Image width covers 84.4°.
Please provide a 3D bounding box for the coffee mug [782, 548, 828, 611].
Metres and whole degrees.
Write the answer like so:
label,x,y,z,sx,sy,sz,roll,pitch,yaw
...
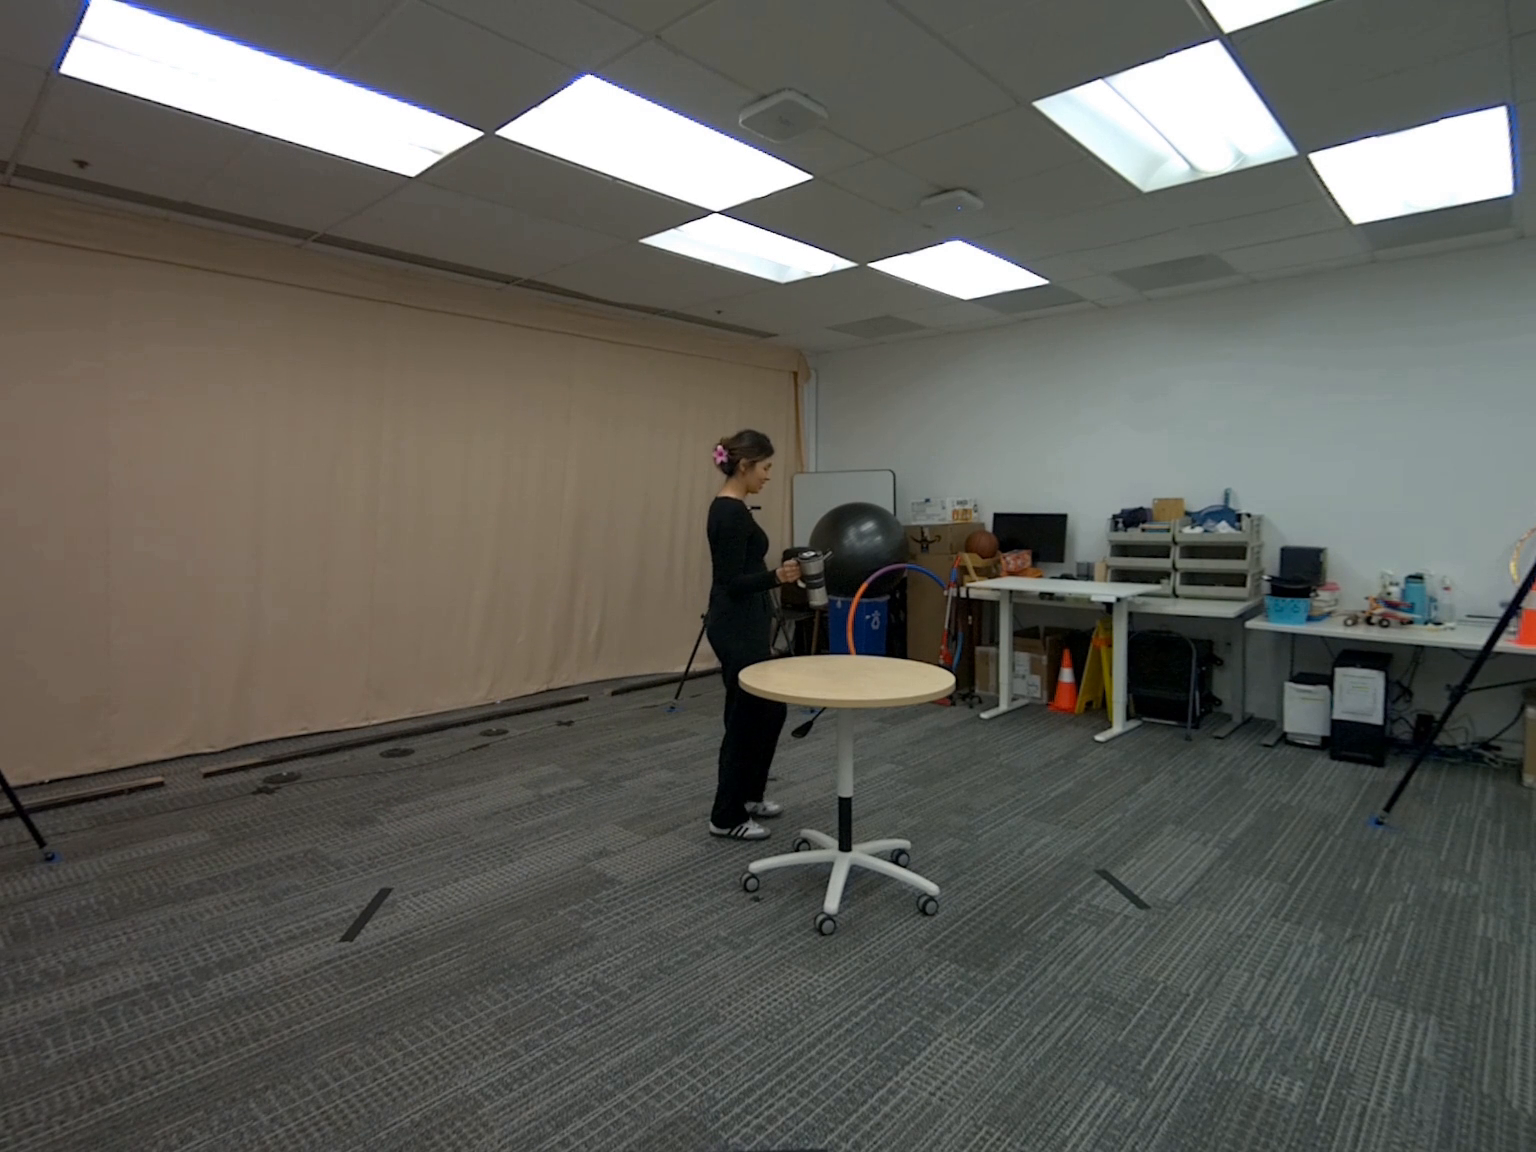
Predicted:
label,x,y,z,sx,sy,sz,roll,pitch,yaw
coffee mug,0.156,0.012,3.106,0.126,0.200,0.086,3,20,41
